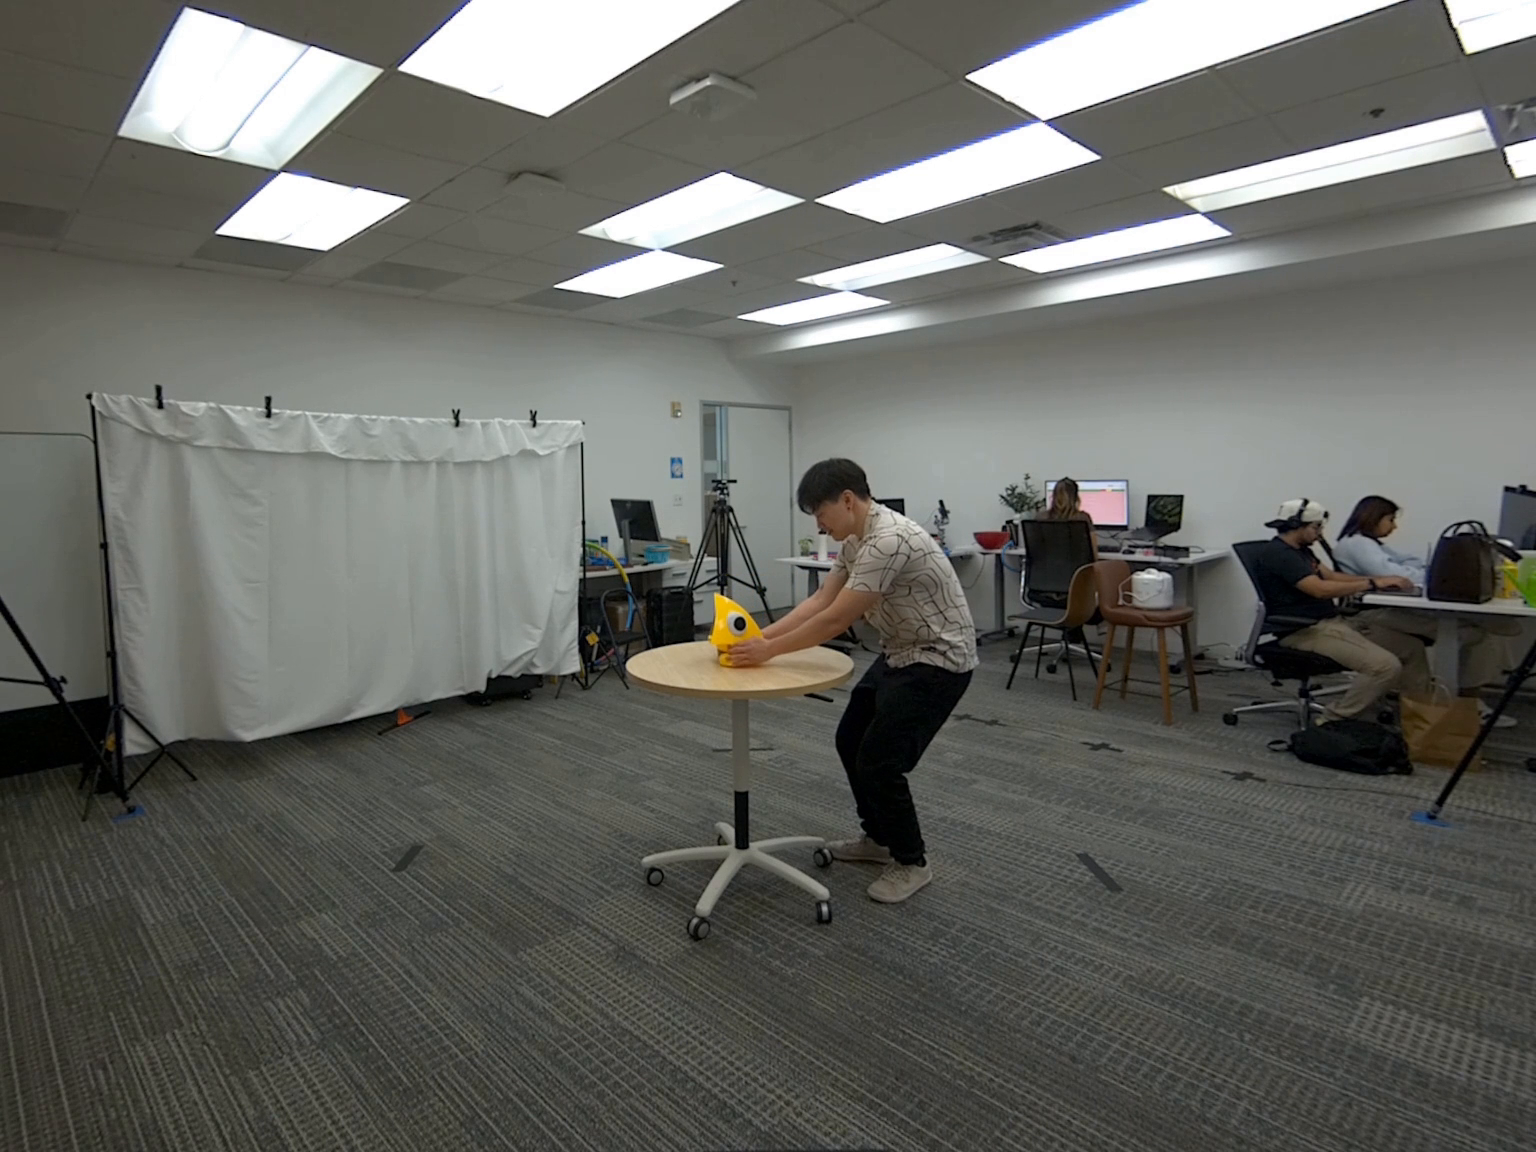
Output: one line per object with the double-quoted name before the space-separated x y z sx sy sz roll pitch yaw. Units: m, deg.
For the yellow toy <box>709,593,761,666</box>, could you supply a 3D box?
"yellow toy" -0.101 0.166 2.883 0.193 0.230 0.205 -7 3 -1
